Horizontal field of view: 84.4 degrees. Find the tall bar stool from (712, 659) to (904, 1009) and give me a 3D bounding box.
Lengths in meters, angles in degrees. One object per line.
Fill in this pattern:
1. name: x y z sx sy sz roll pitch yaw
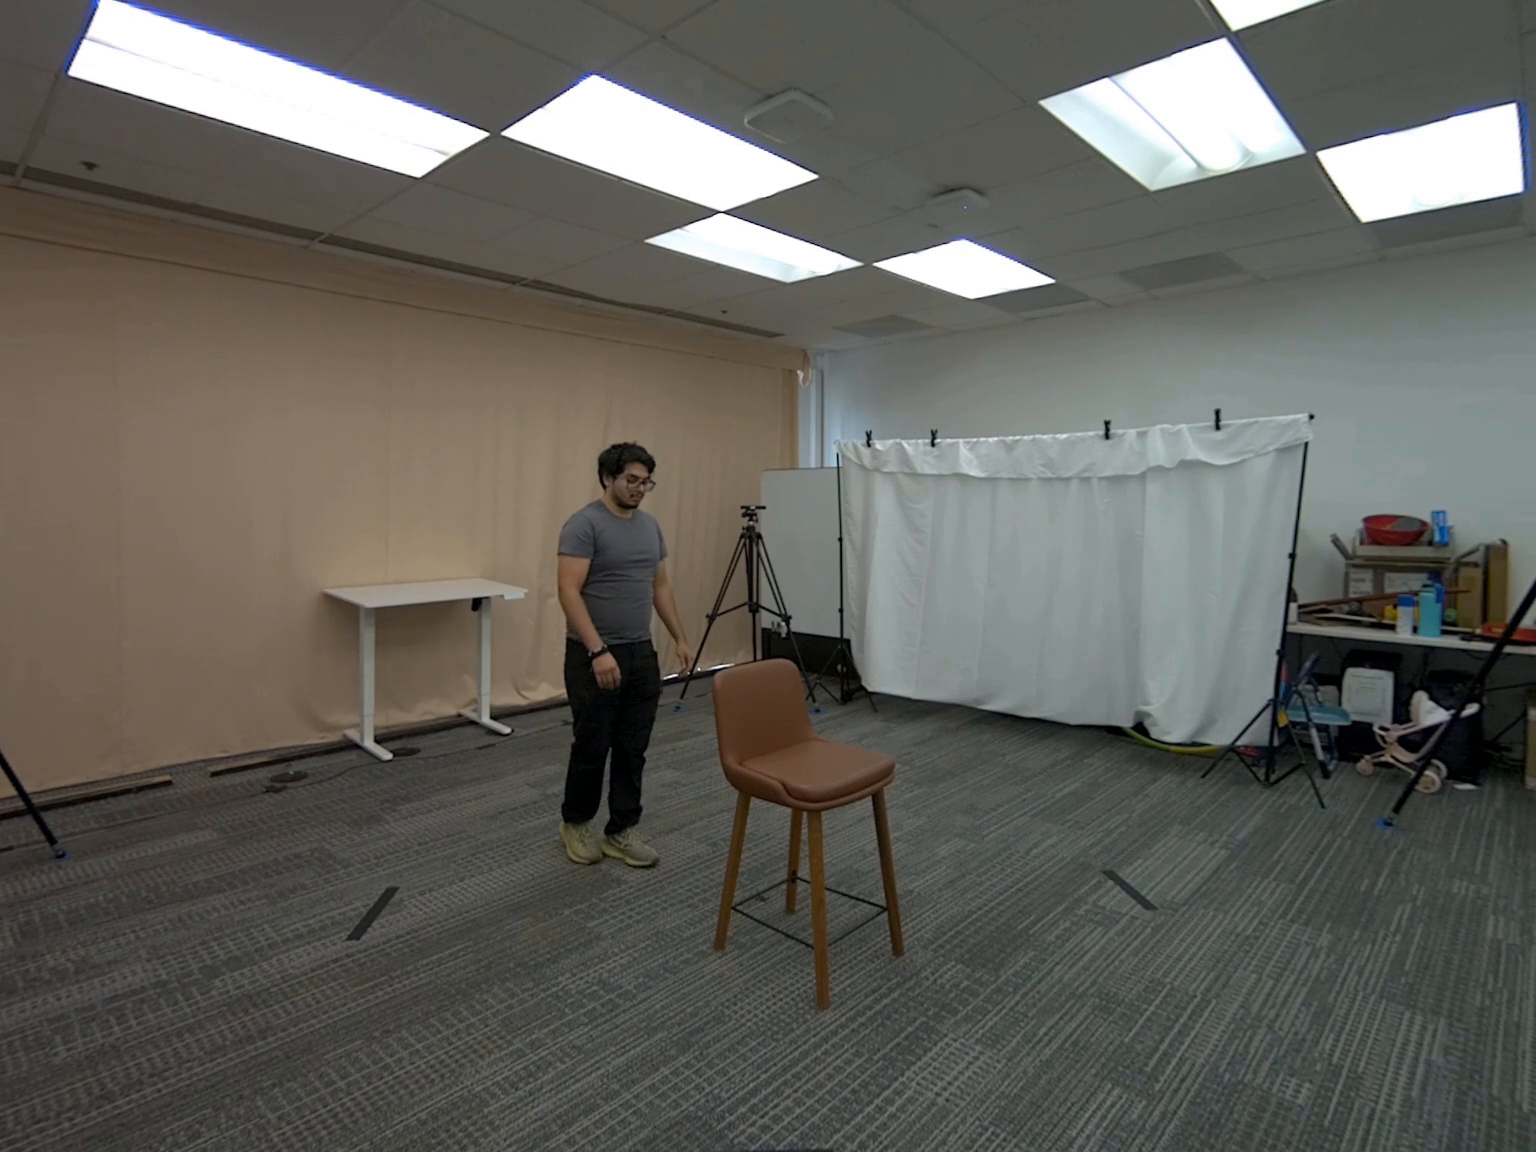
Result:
1. tall bar stool: 0.119 0.740 2.604 0.483 0.888 0.442 1 3 43
